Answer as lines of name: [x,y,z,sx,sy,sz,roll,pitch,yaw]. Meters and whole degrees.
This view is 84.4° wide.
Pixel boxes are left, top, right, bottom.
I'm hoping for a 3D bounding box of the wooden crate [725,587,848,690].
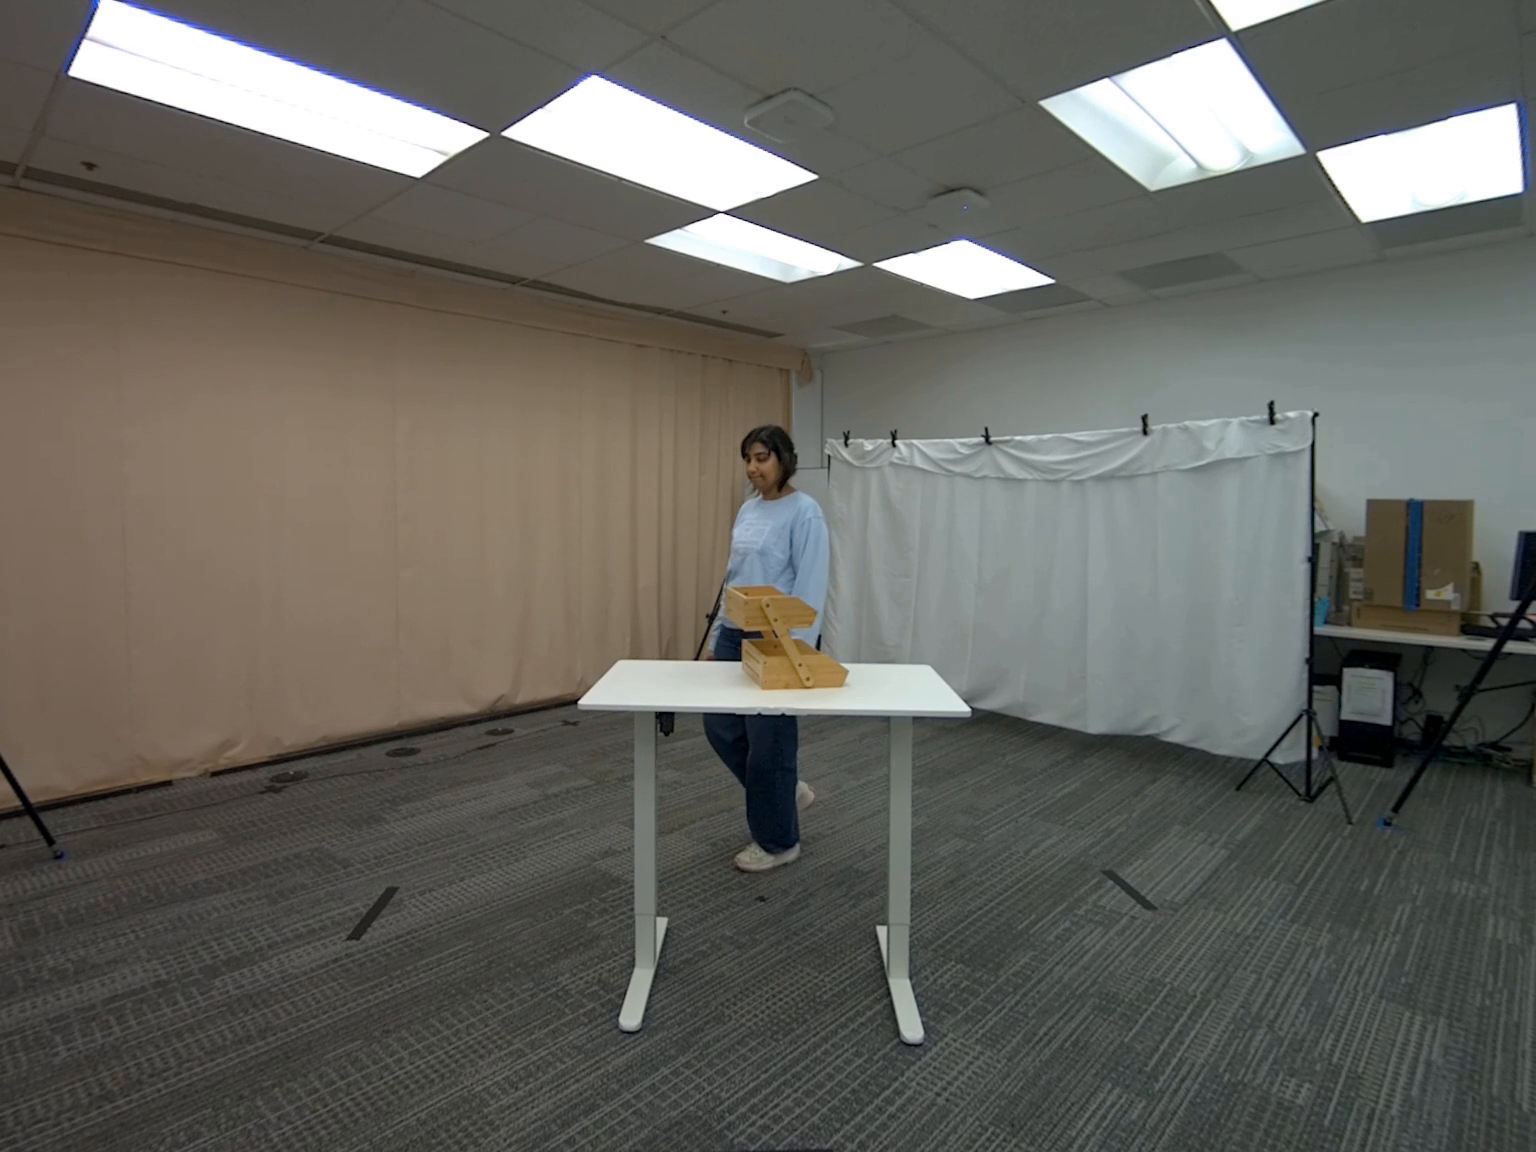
wooden crate: [0.052,0.168,2.489,0.299,0.272,0.329,-3,5,-11]
